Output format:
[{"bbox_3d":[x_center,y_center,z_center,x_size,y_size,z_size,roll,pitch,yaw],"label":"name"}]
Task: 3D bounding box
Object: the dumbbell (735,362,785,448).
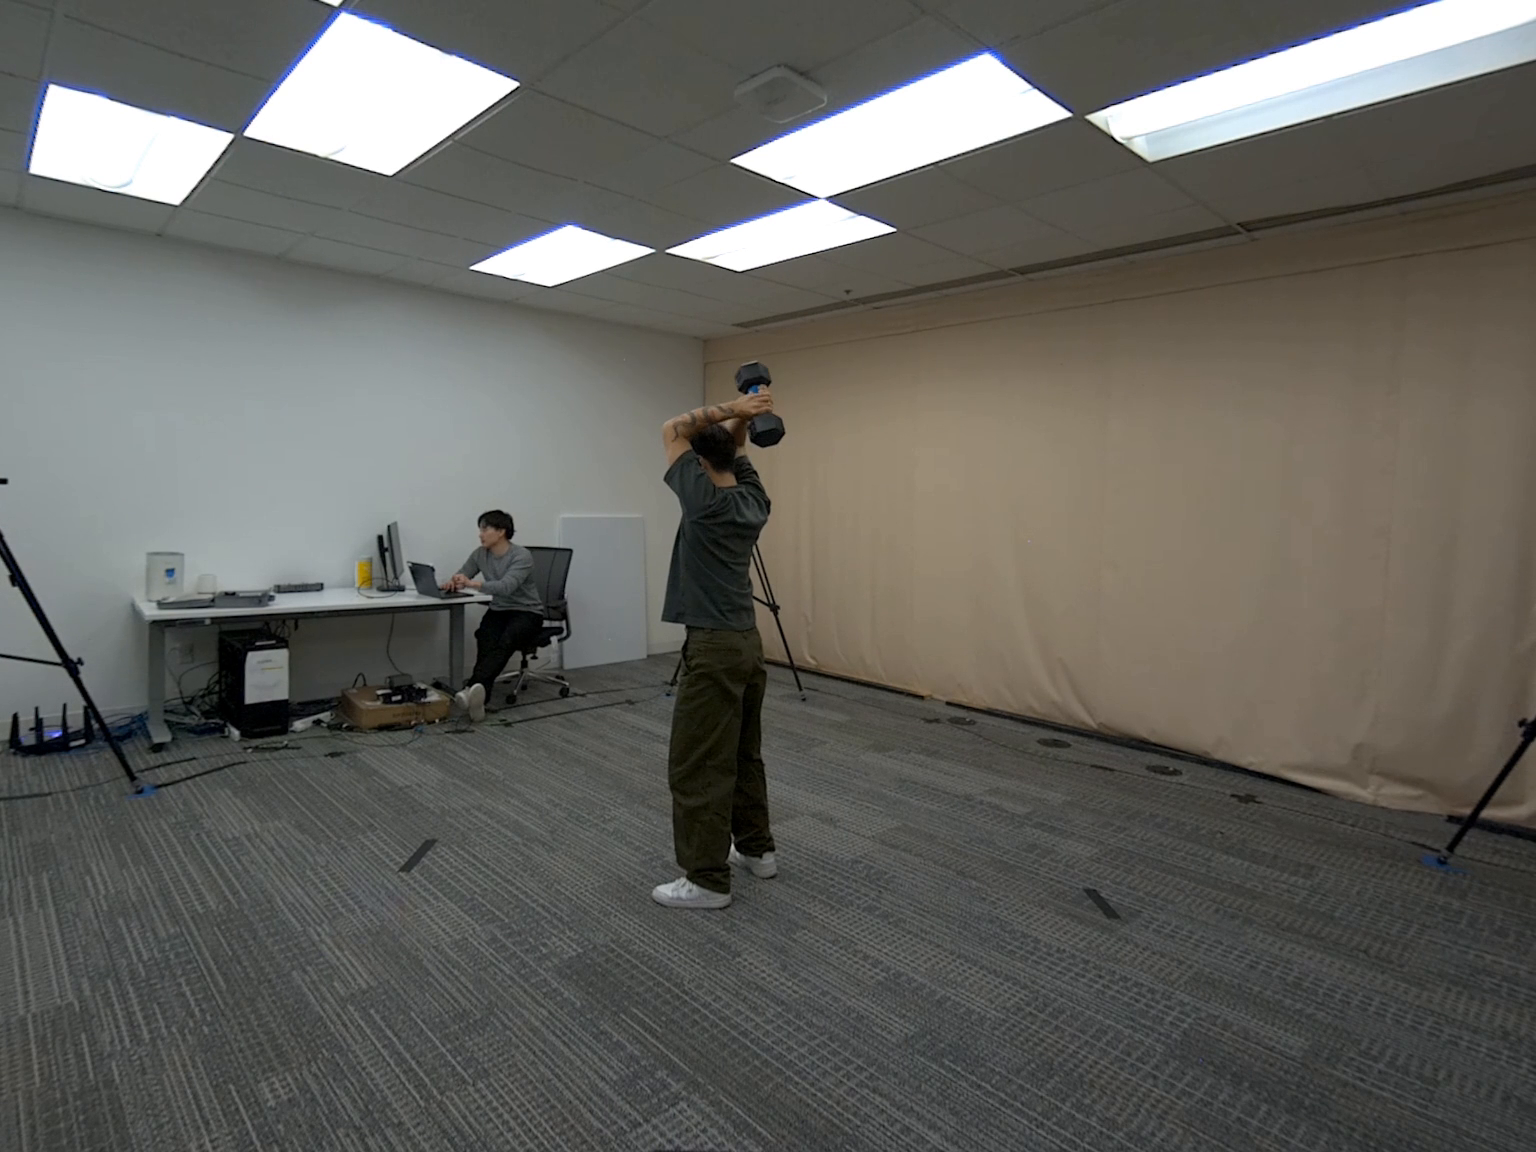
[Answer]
[{"bbox_3d":[-0.042,-0.591,2.878,0.107,0.300,0.122,-3,-27,-22],"label":"dumbbell"}]
